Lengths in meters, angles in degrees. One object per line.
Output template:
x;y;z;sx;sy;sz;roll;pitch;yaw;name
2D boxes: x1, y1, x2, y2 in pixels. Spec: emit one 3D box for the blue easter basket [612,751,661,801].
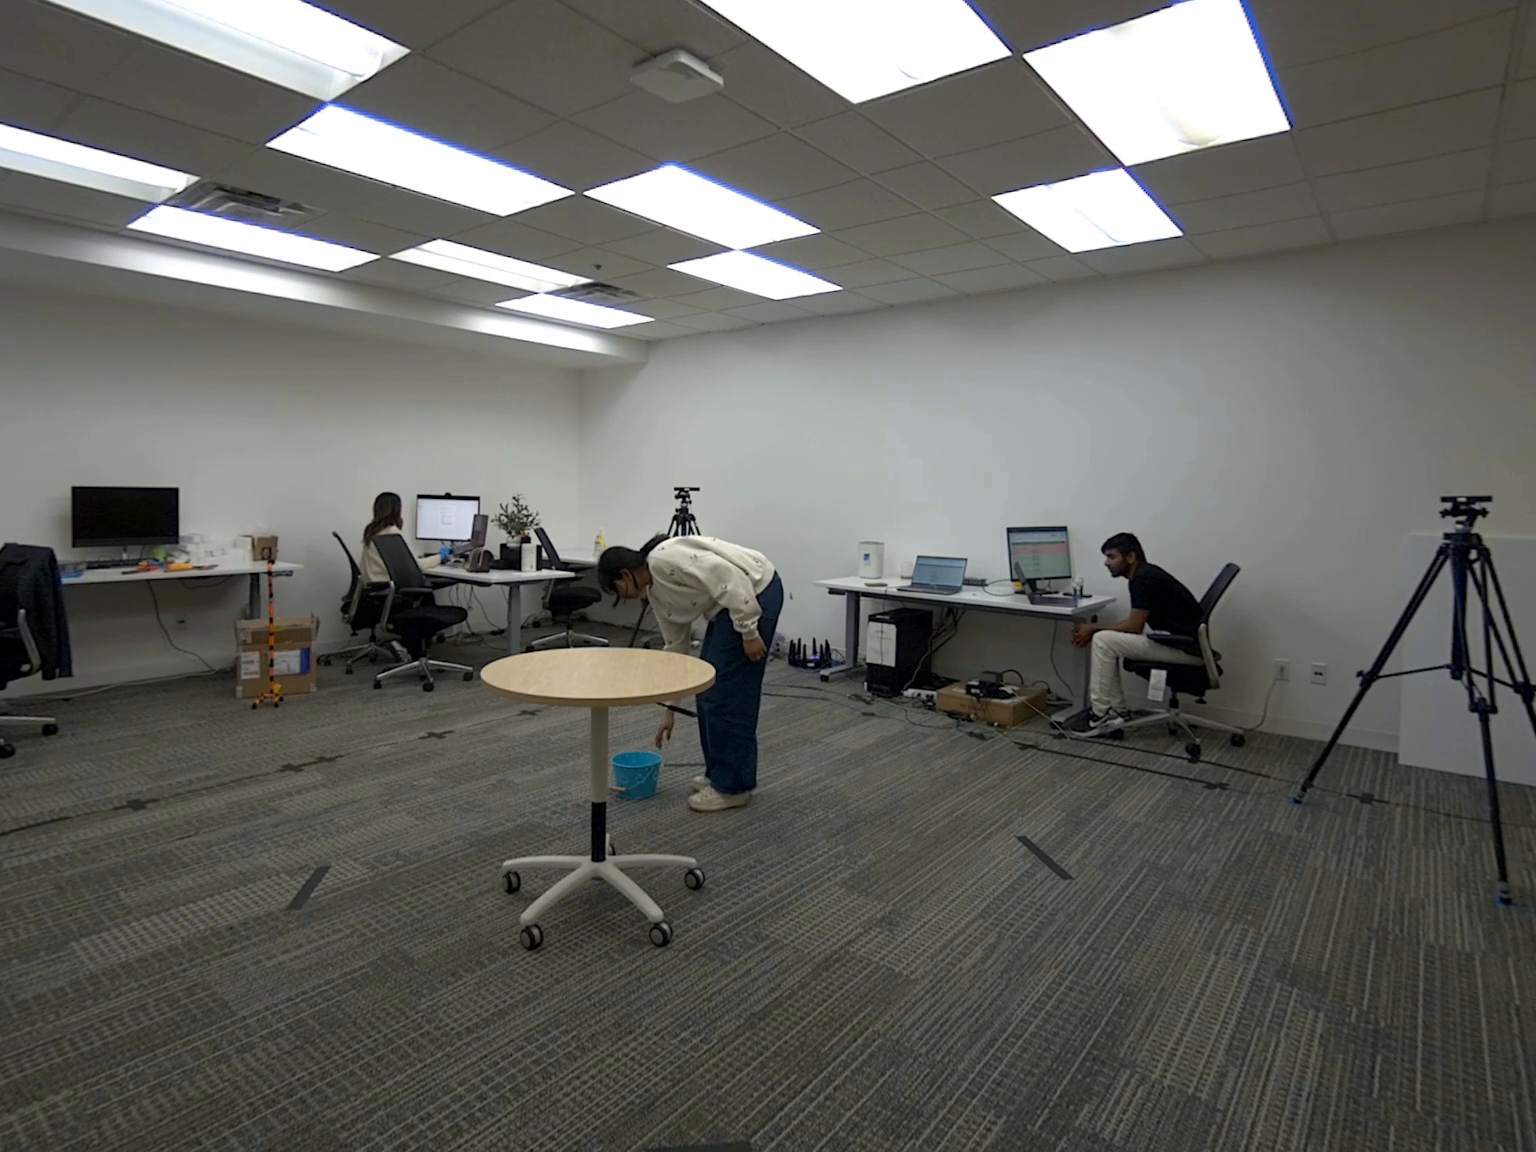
-0.624;0.908;3.900;0.243;0.155;0.245;0;5;-2;blue easter basket
